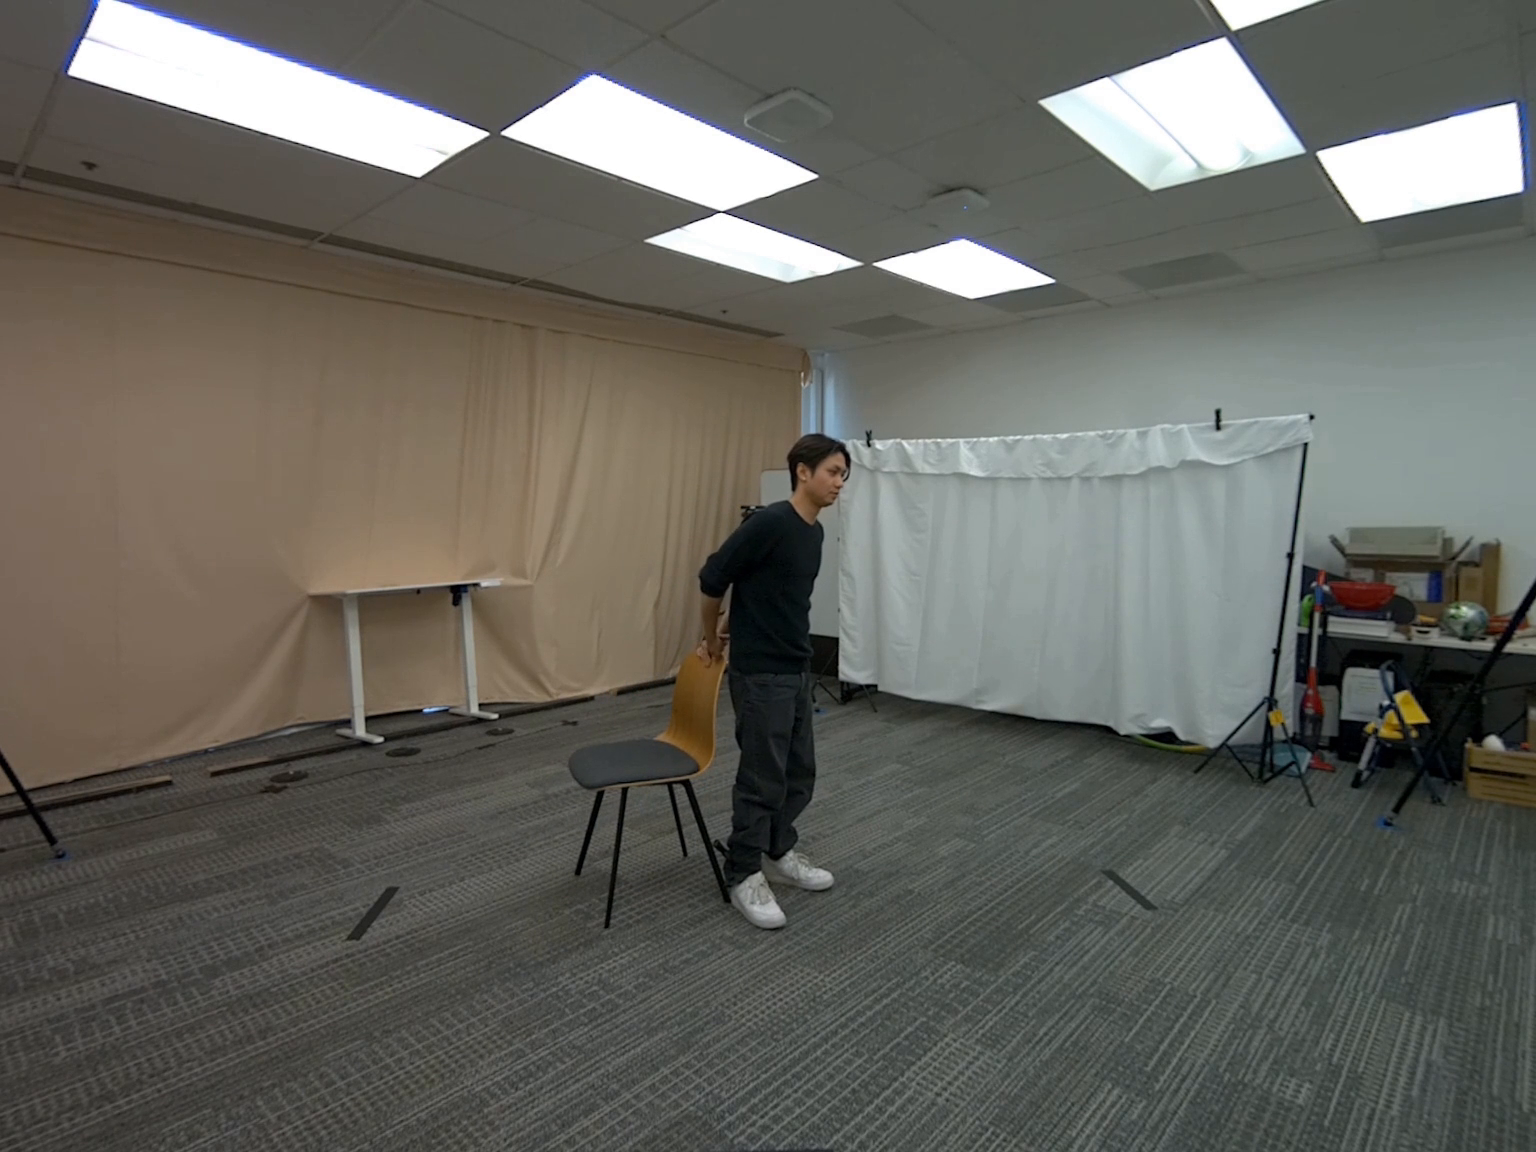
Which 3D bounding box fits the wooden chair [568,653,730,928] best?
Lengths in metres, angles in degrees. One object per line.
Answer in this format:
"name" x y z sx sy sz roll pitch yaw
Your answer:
"wooden chair" -0.440 0.719 3.042 0.510 0.876 0.490 3 2 -25
